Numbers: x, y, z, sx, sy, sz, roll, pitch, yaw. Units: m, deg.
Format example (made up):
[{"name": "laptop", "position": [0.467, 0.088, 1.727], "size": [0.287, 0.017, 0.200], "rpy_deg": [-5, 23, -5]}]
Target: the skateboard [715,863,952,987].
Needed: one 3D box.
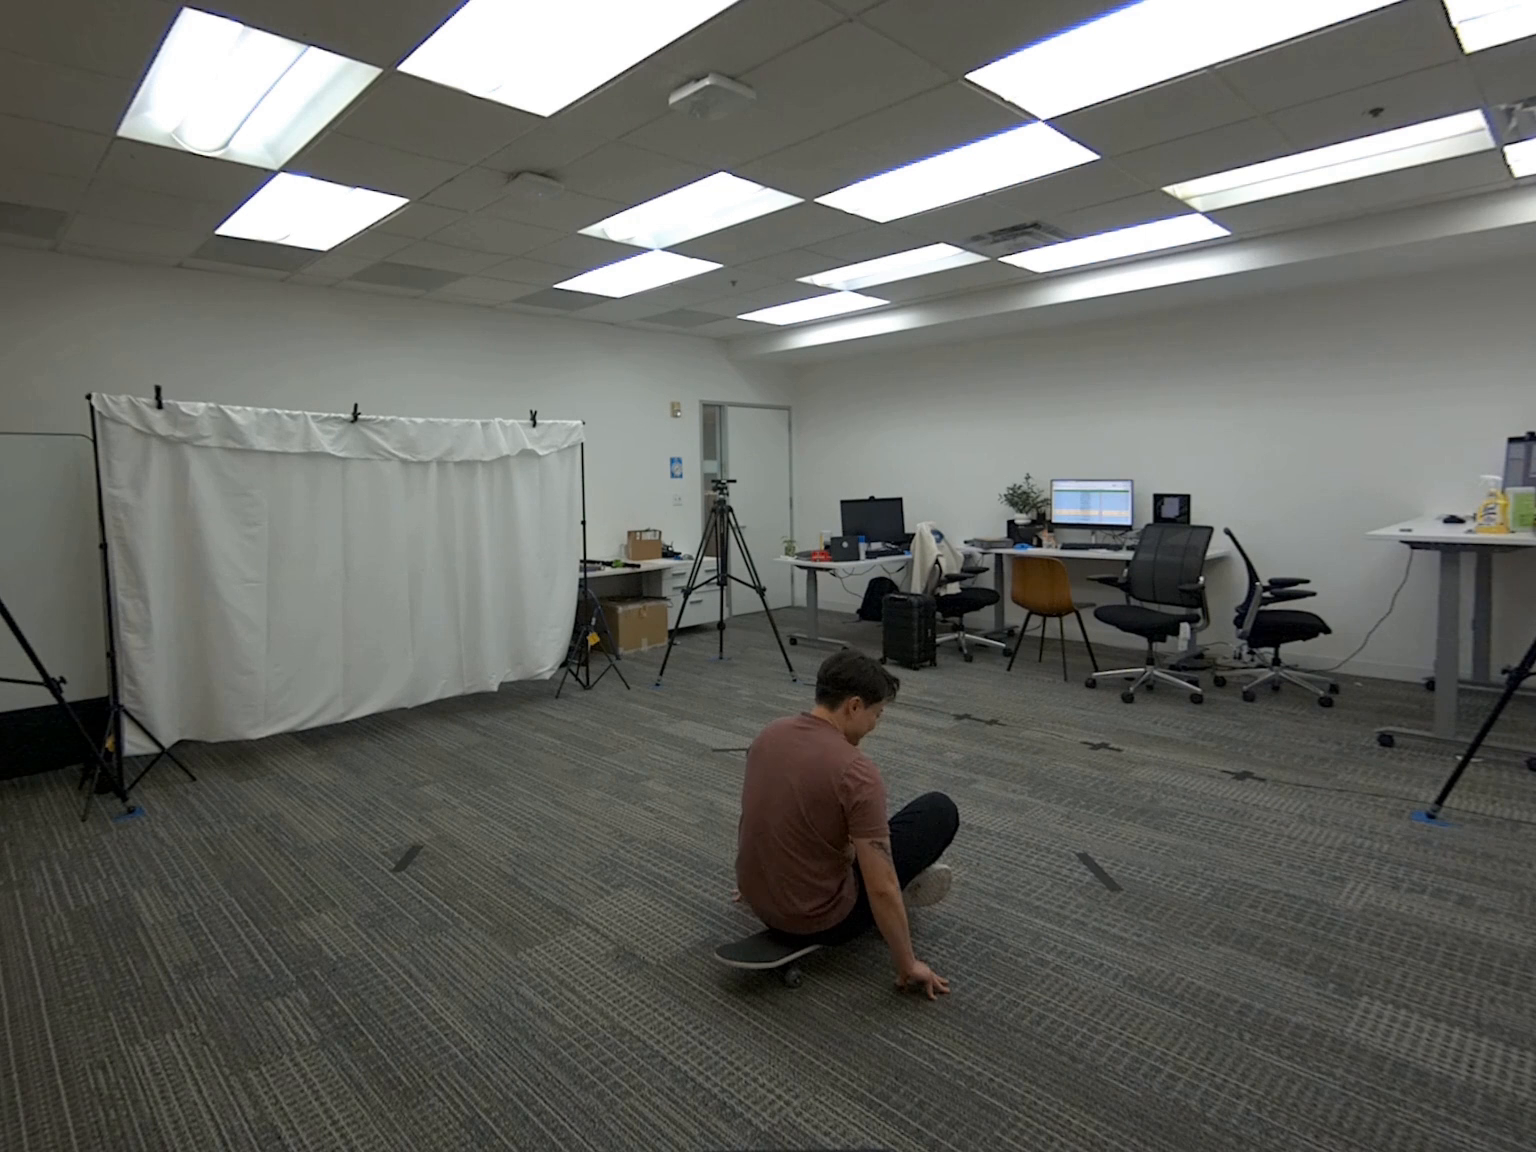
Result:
[{"name": "skateboard", "position": [0.203, 1.058, 2.523], "size": [0.768, 0.110, 0.197], "rpy_deg": [-8, 0, -31]}]
